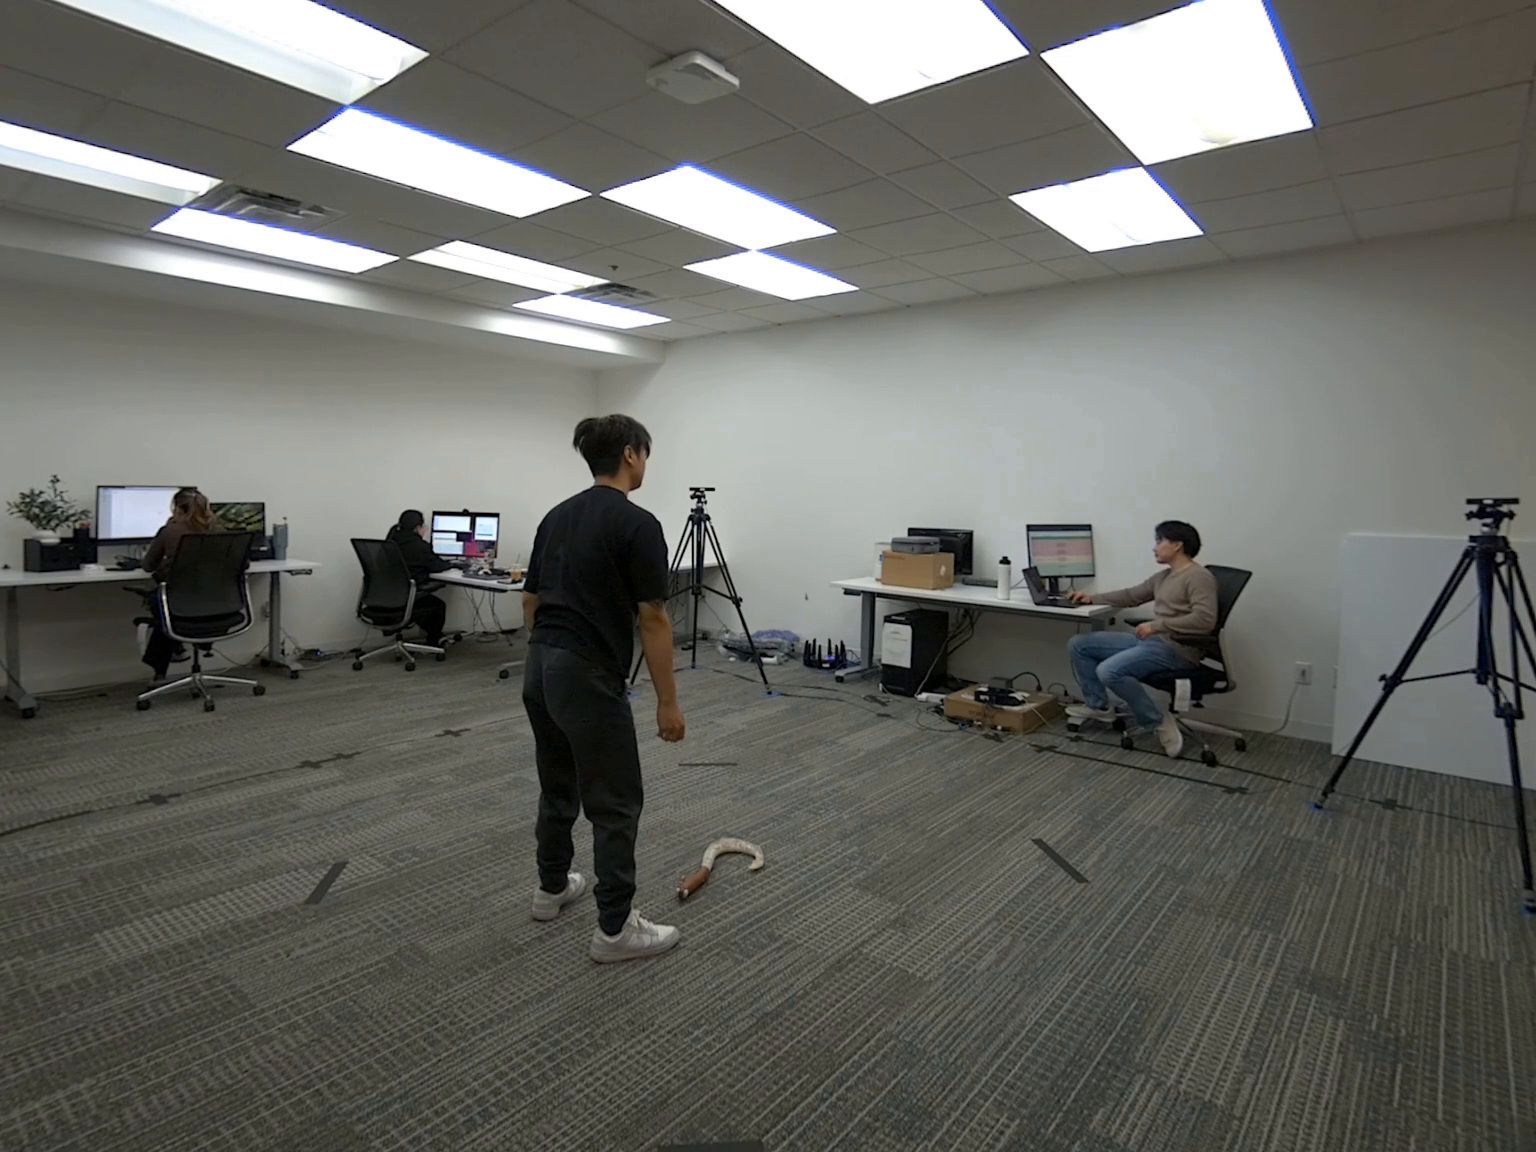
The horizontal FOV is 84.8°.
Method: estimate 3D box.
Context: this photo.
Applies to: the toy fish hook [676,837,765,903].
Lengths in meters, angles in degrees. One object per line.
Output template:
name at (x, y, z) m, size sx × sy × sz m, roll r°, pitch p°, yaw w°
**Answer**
toy fish hook at (-0.170, 1.049, 3.056) m, size 0.229 × 0.048 × 0.497 m, roll 2°, pitch 6°, yaw 20°
